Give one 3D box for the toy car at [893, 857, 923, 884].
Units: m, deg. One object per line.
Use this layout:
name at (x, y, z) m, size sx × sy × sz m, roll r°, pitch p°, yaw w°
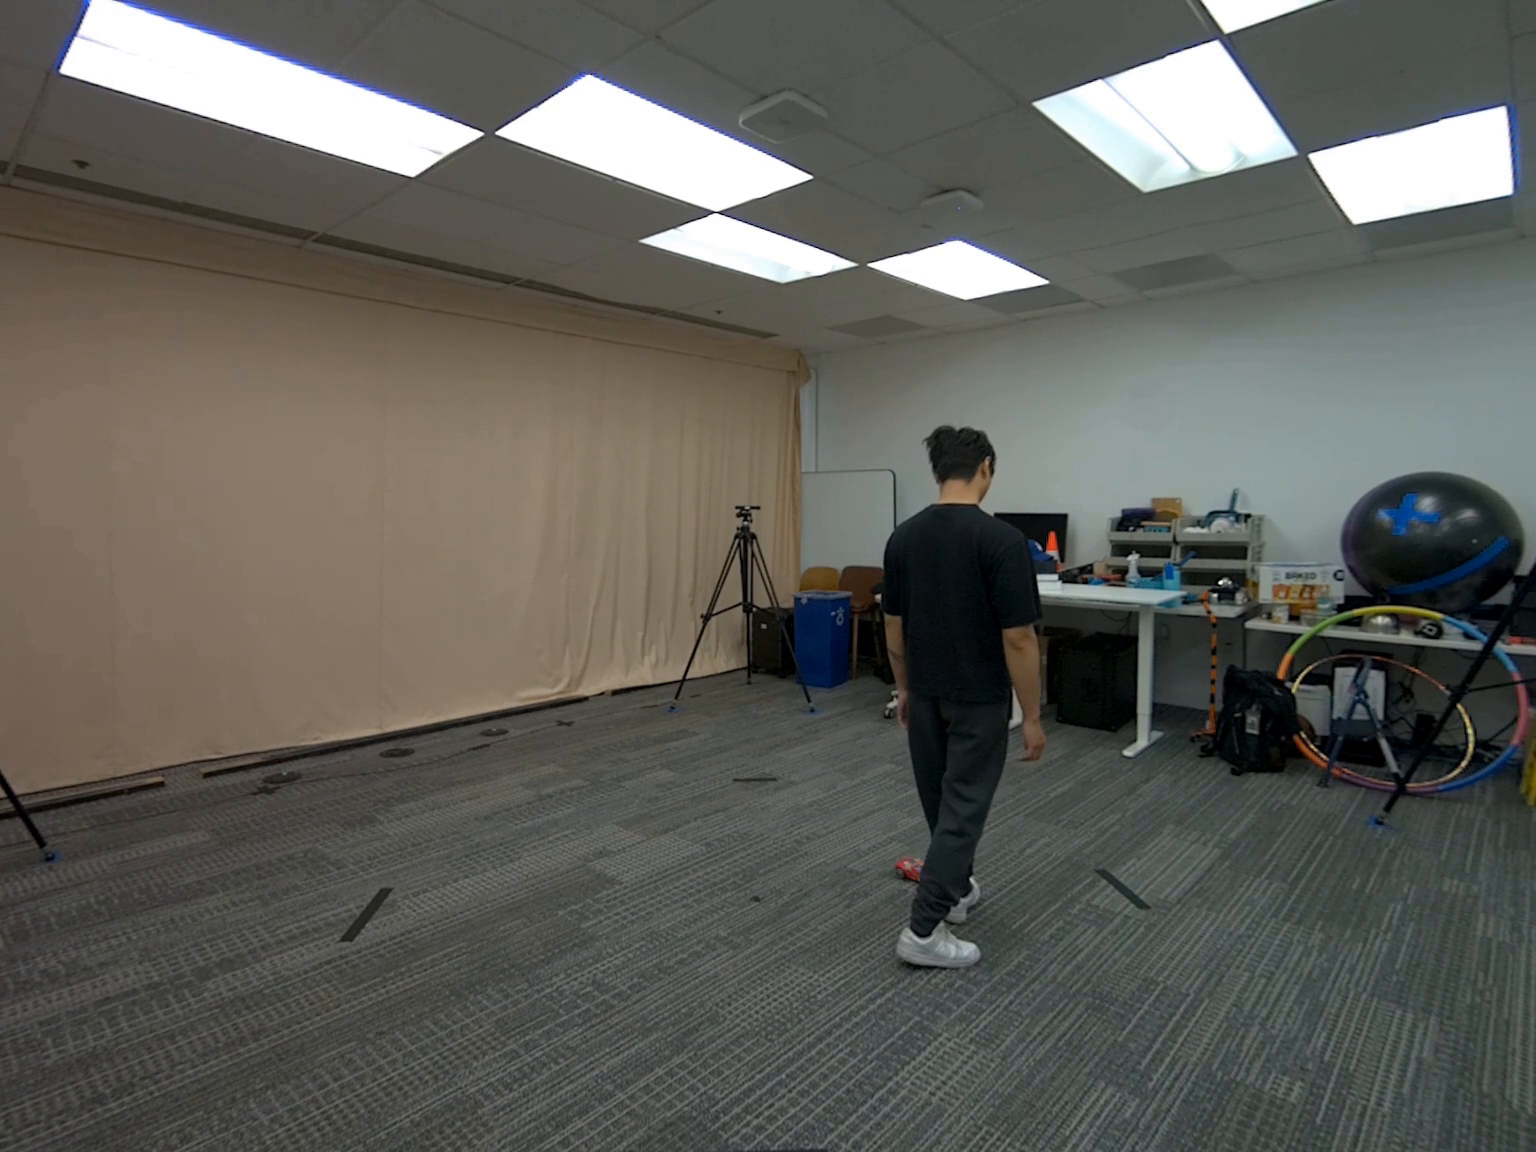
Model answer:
toy car at (0.608, 1.104, 3.106) m, size 0.126 × 0.083 × 0.262 m, roll -4°, pitch -4°, yaw -44°
